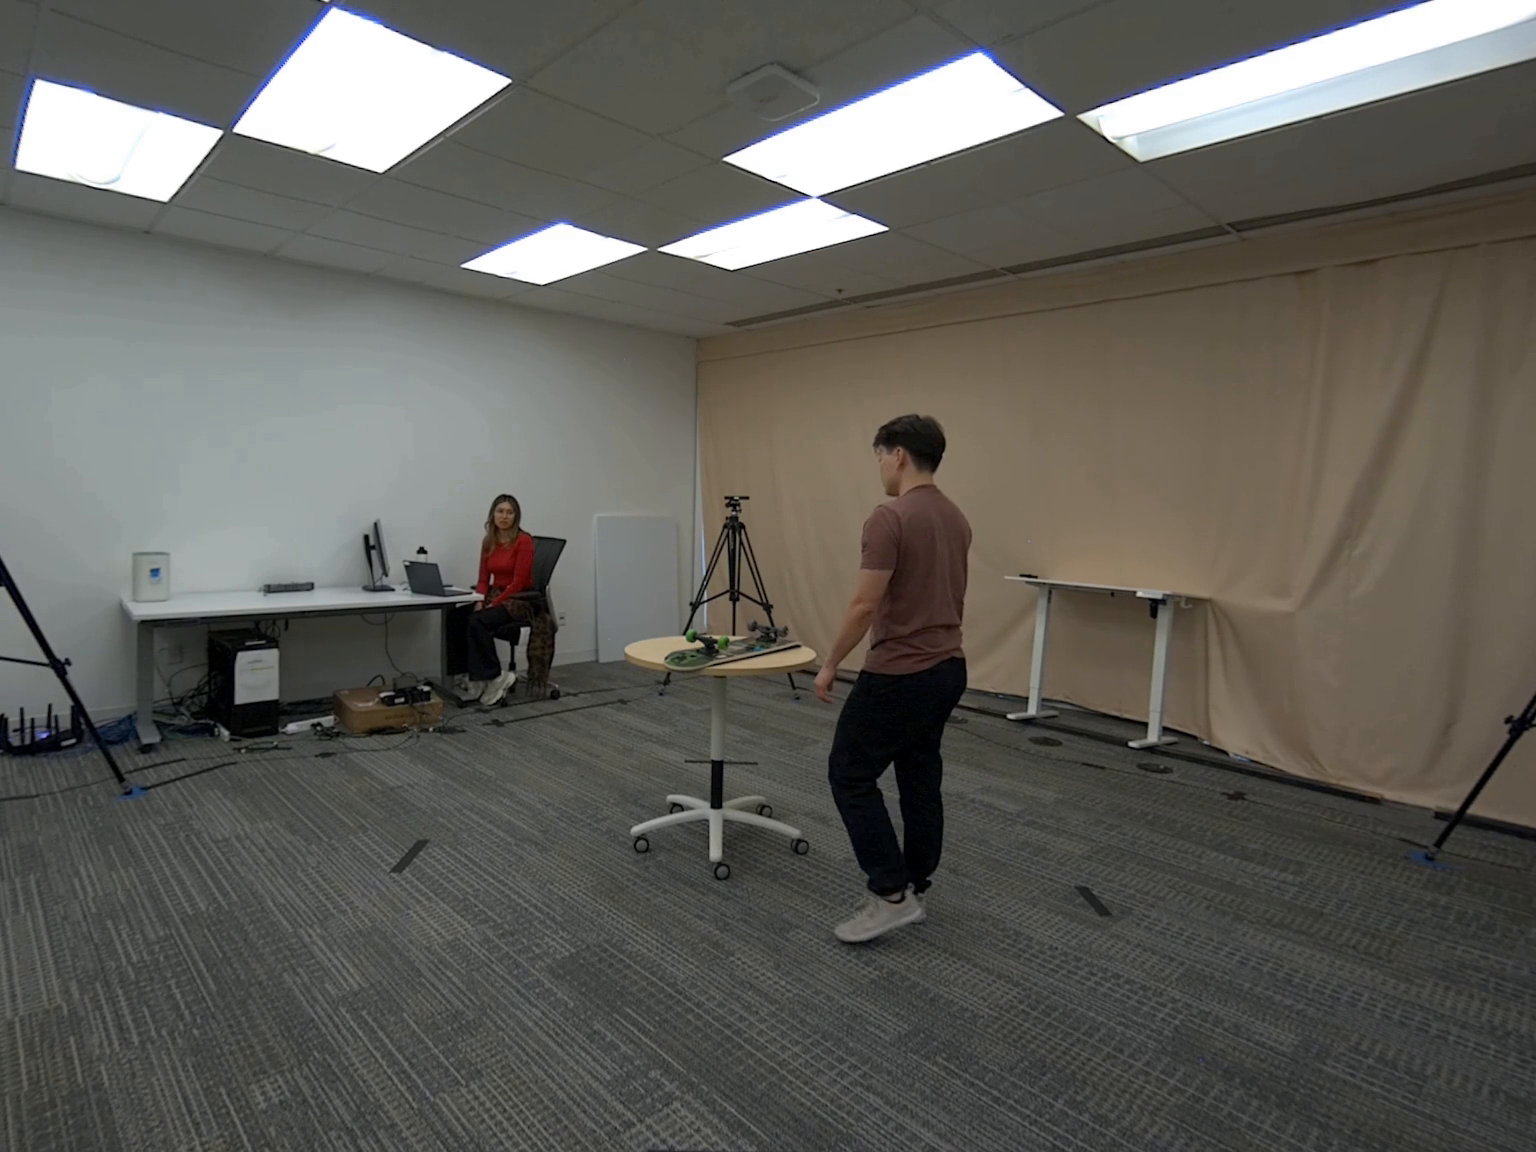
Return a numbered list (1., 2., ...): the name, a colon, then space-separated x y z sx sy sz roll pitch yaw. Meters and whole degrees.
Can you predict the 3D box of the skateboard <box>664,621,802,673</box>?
1. skateboard: -0.126 0.257 3.300 0.198 0.110 0.769 10 8 34
